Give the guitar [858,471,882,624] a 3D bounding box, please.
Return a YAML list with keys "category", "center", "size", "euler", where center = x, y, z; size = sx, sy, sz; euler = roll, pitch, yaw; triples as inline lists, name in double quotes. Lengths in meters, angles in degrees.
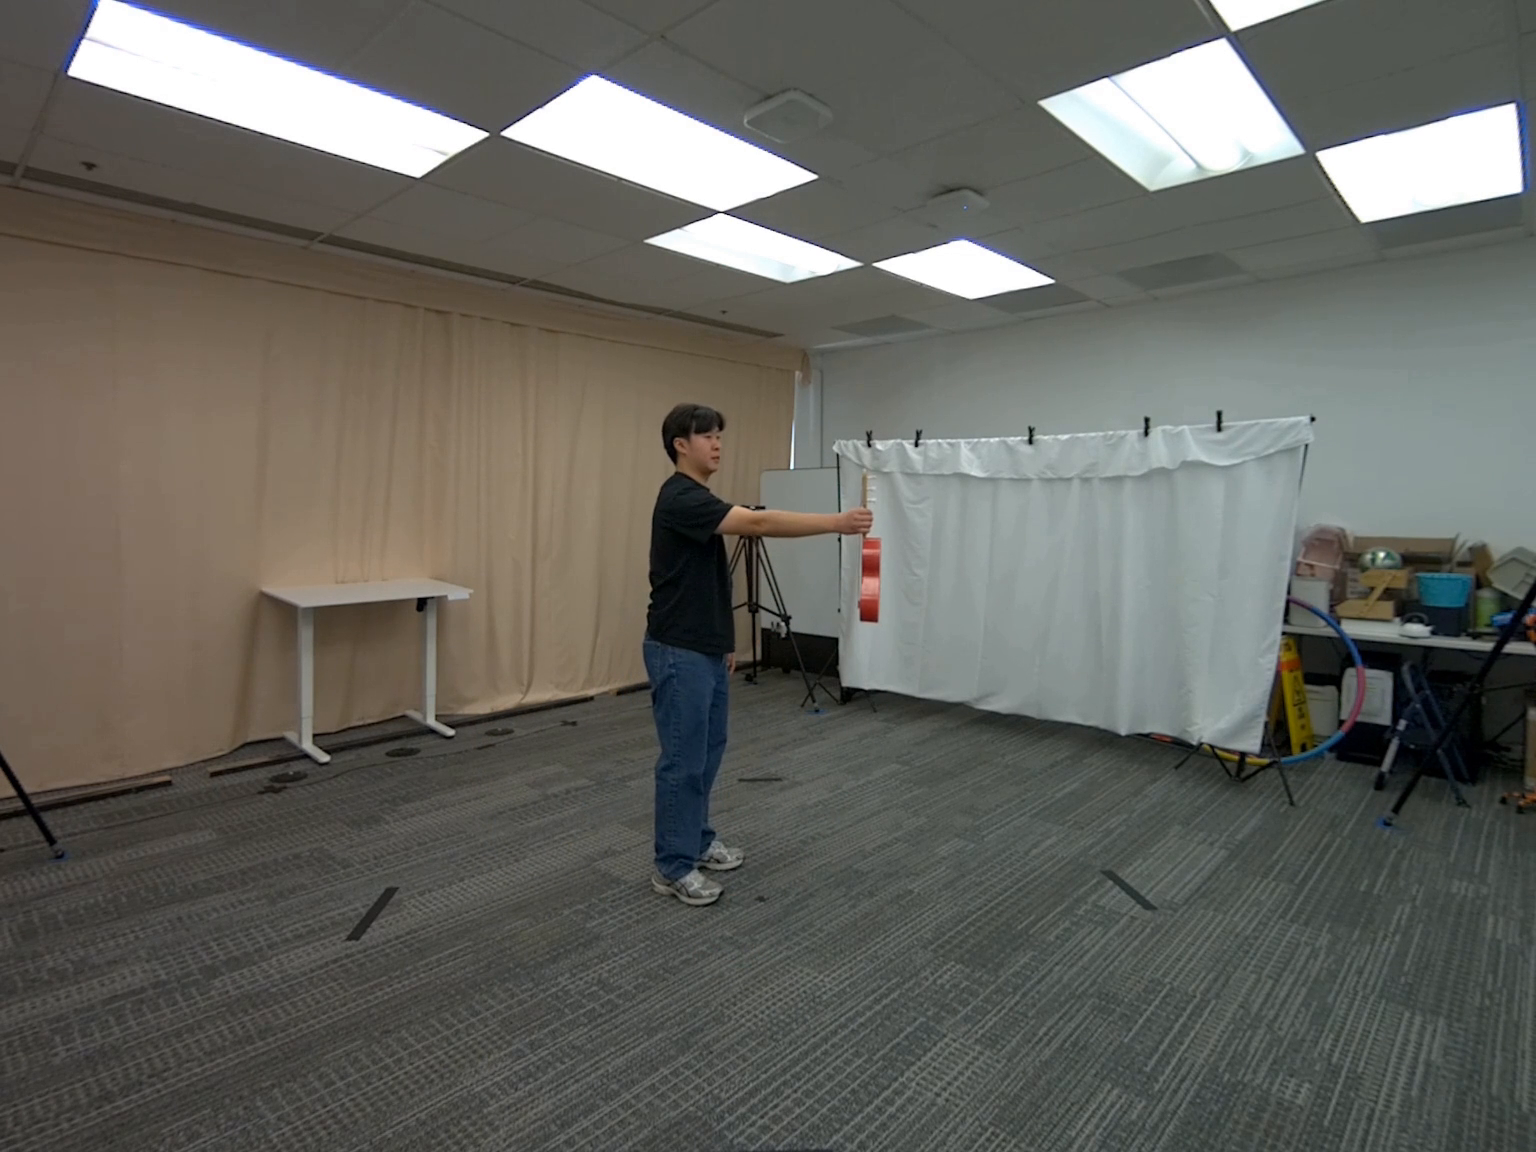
- category: "guitar"
  center: [0.340, -0.076, 2.741]
  size: [0.071, 0.494, 0.193]
  euler: [2, 11, 6]
